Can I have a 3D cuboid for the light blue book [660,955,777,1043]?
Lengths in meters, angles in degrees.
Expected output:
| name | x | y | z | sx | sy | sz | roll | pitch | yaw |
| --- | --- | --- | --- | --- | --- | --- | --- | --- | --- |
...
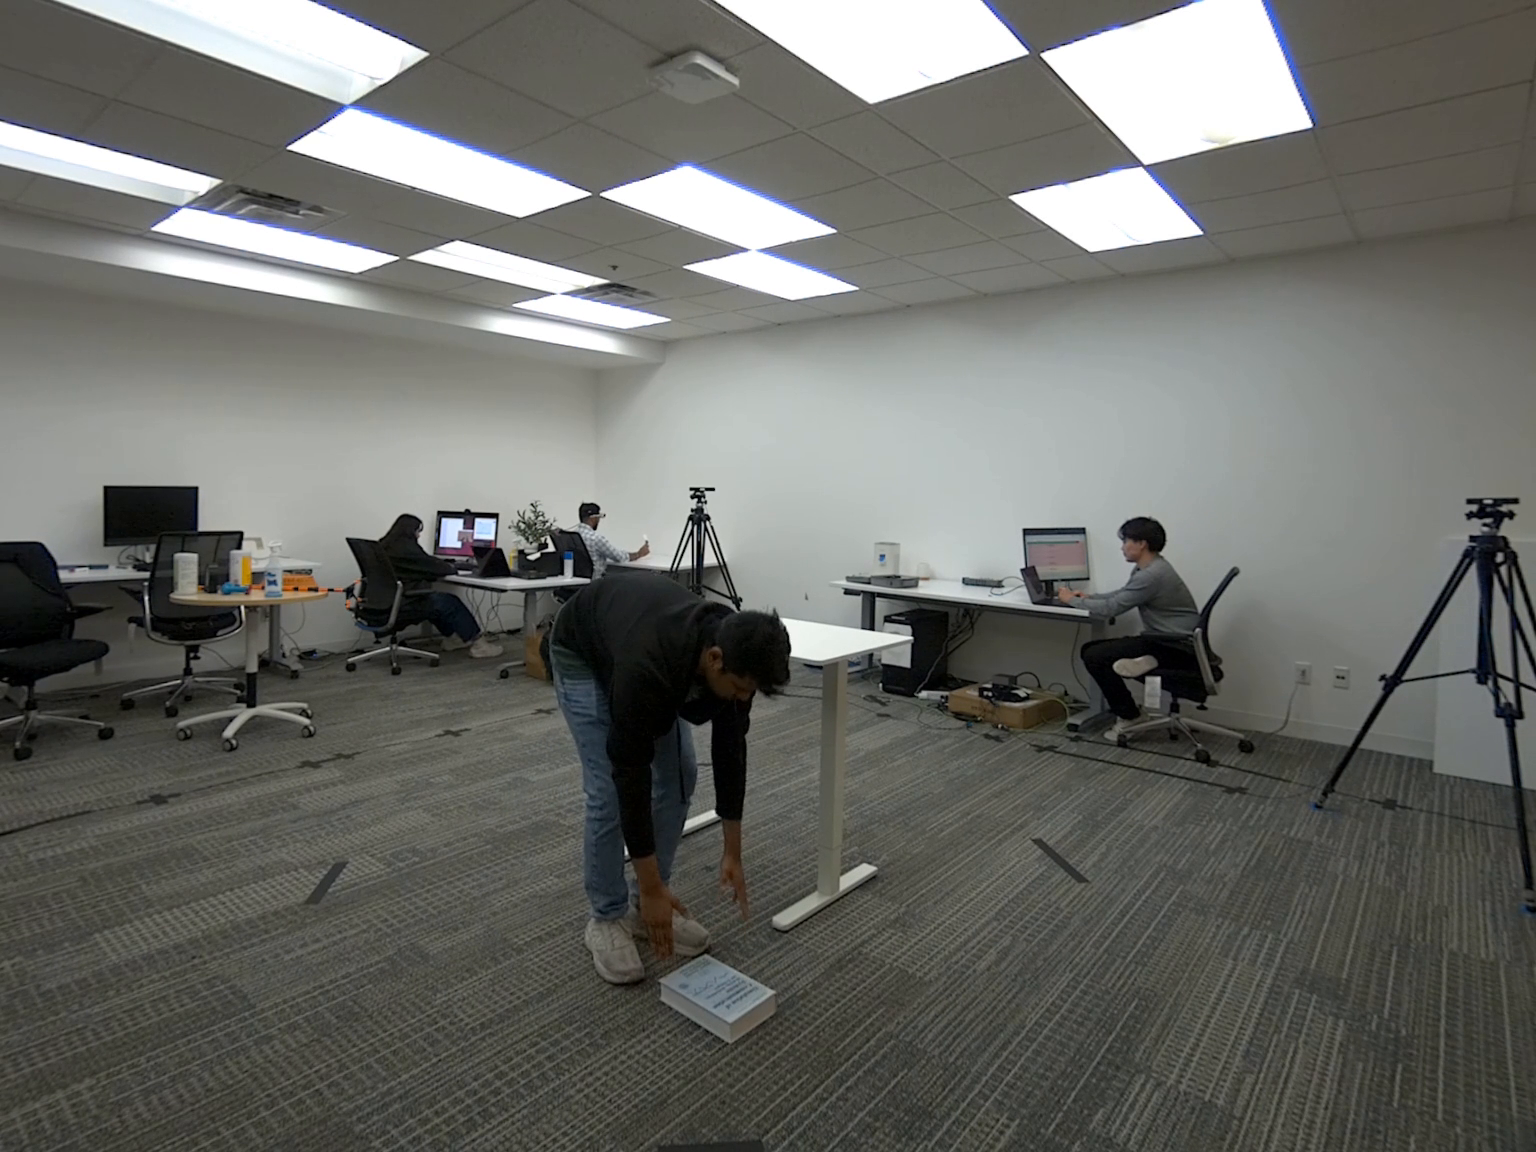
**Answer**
| name | x | y | z | sx | sy | sz | roll | pitch | yaw |
| --- | --- | --- | --- | --- | --- | --- | --- | --- | --- |
| light blue book | -0.142 | 1.118 | 2.277 | 0.270 | 0.059 | 0.186 | 6 | 8 | 41 |
